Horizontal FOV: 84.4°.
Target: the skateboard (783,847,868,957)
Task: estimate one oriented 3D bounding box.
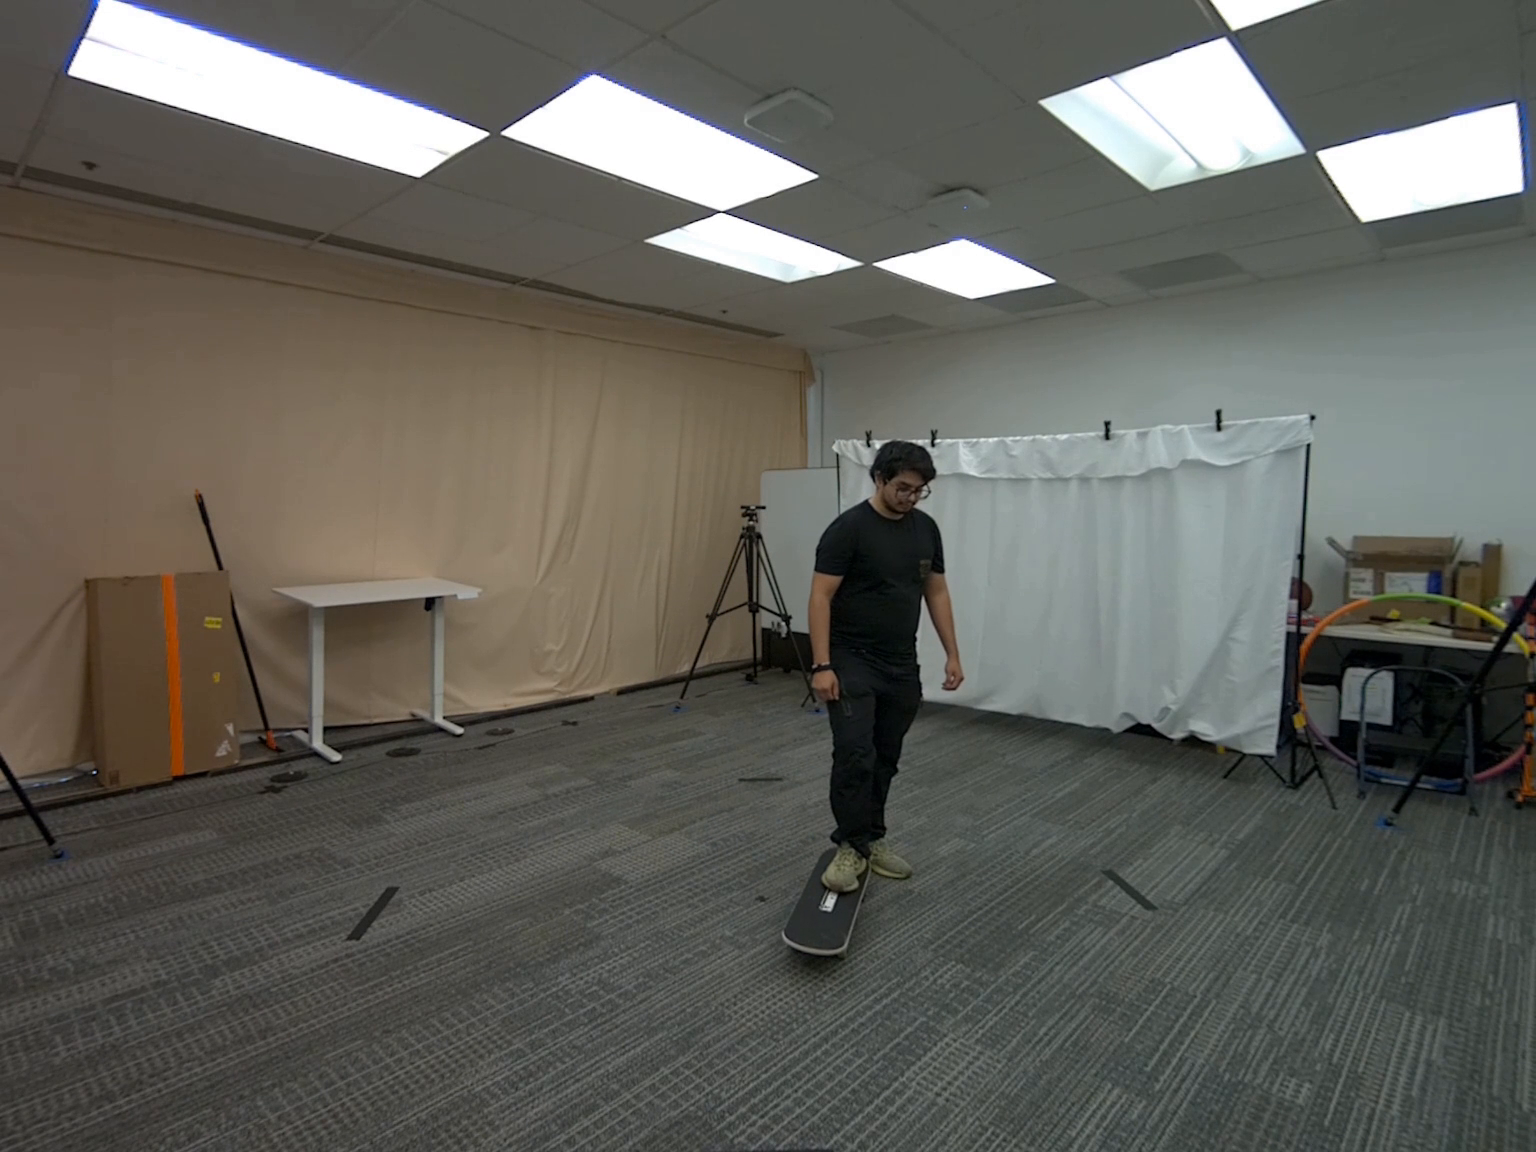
[{"bbox_3d":[0.213,1.106,2.794,0.197,0.110,0.774,4,4,14],"label":"skateboard"}]
